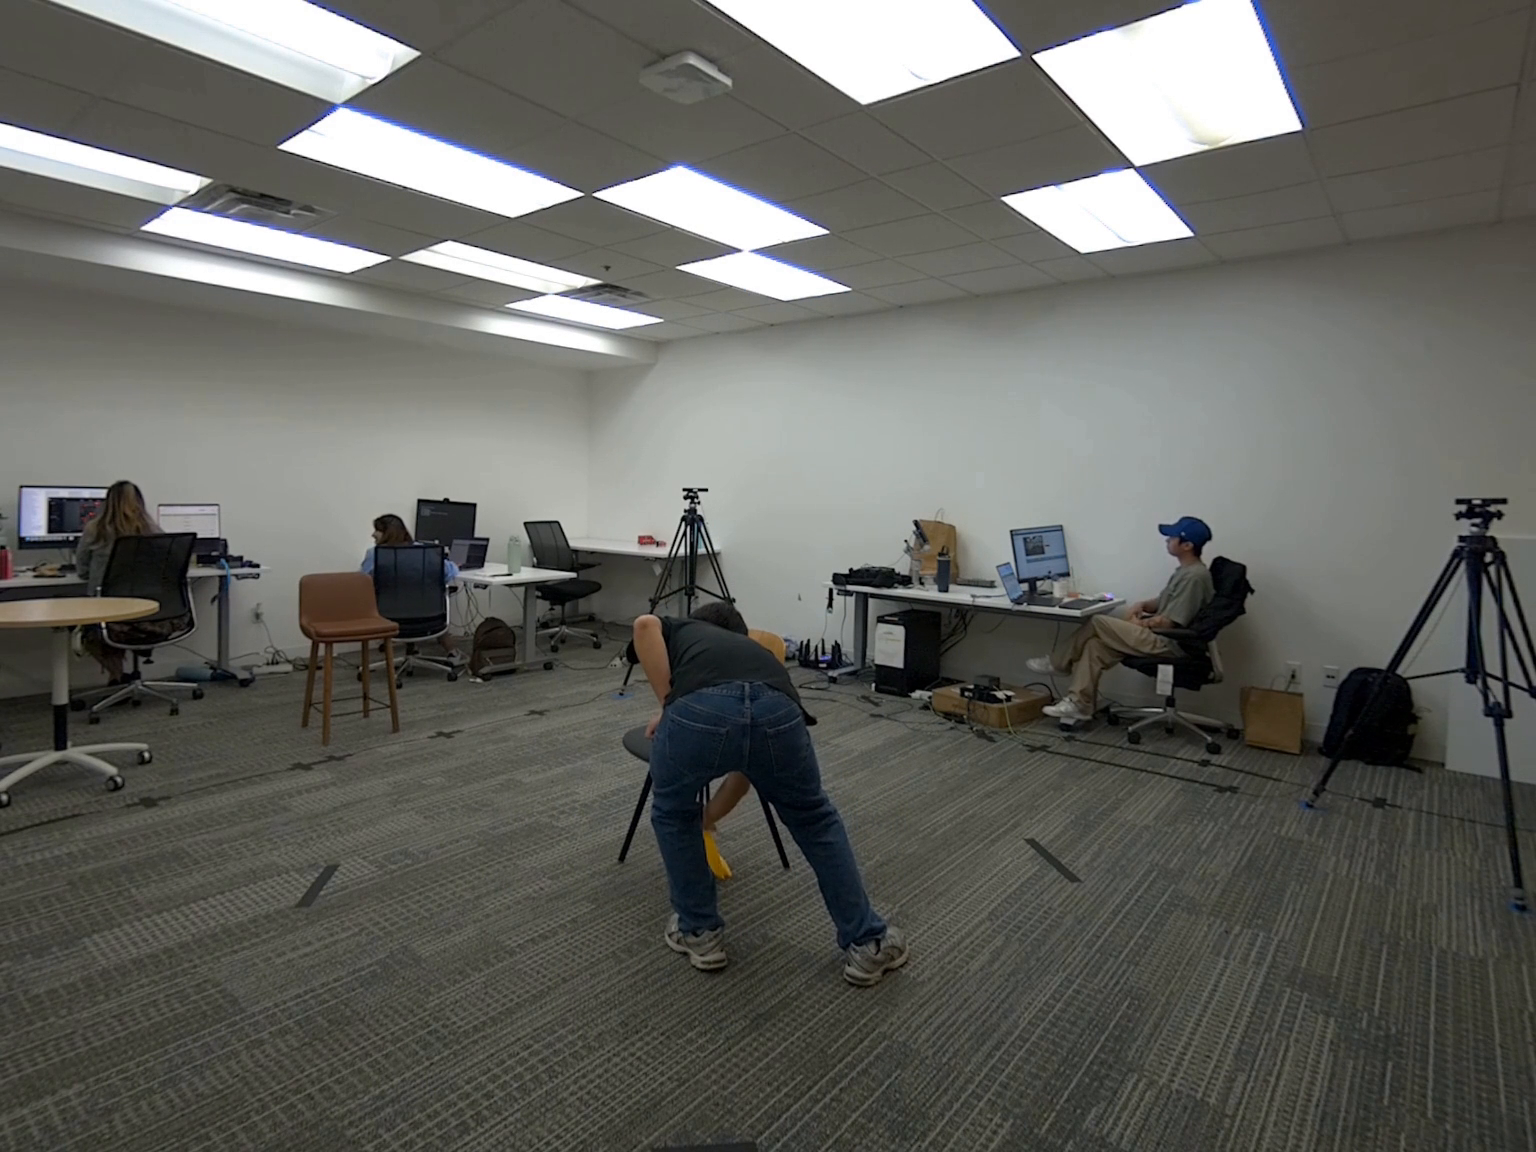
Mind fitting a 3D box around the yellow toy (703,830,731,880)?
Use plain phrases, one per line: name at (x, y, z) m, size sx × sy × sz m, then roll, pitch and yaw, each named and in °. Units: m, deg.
yellow toy at (-0.248, 0.960, 3.038) m, size 0.198 × 0.230 × 0.200 m, roll 2°, pitch 5°, yaw 27°
